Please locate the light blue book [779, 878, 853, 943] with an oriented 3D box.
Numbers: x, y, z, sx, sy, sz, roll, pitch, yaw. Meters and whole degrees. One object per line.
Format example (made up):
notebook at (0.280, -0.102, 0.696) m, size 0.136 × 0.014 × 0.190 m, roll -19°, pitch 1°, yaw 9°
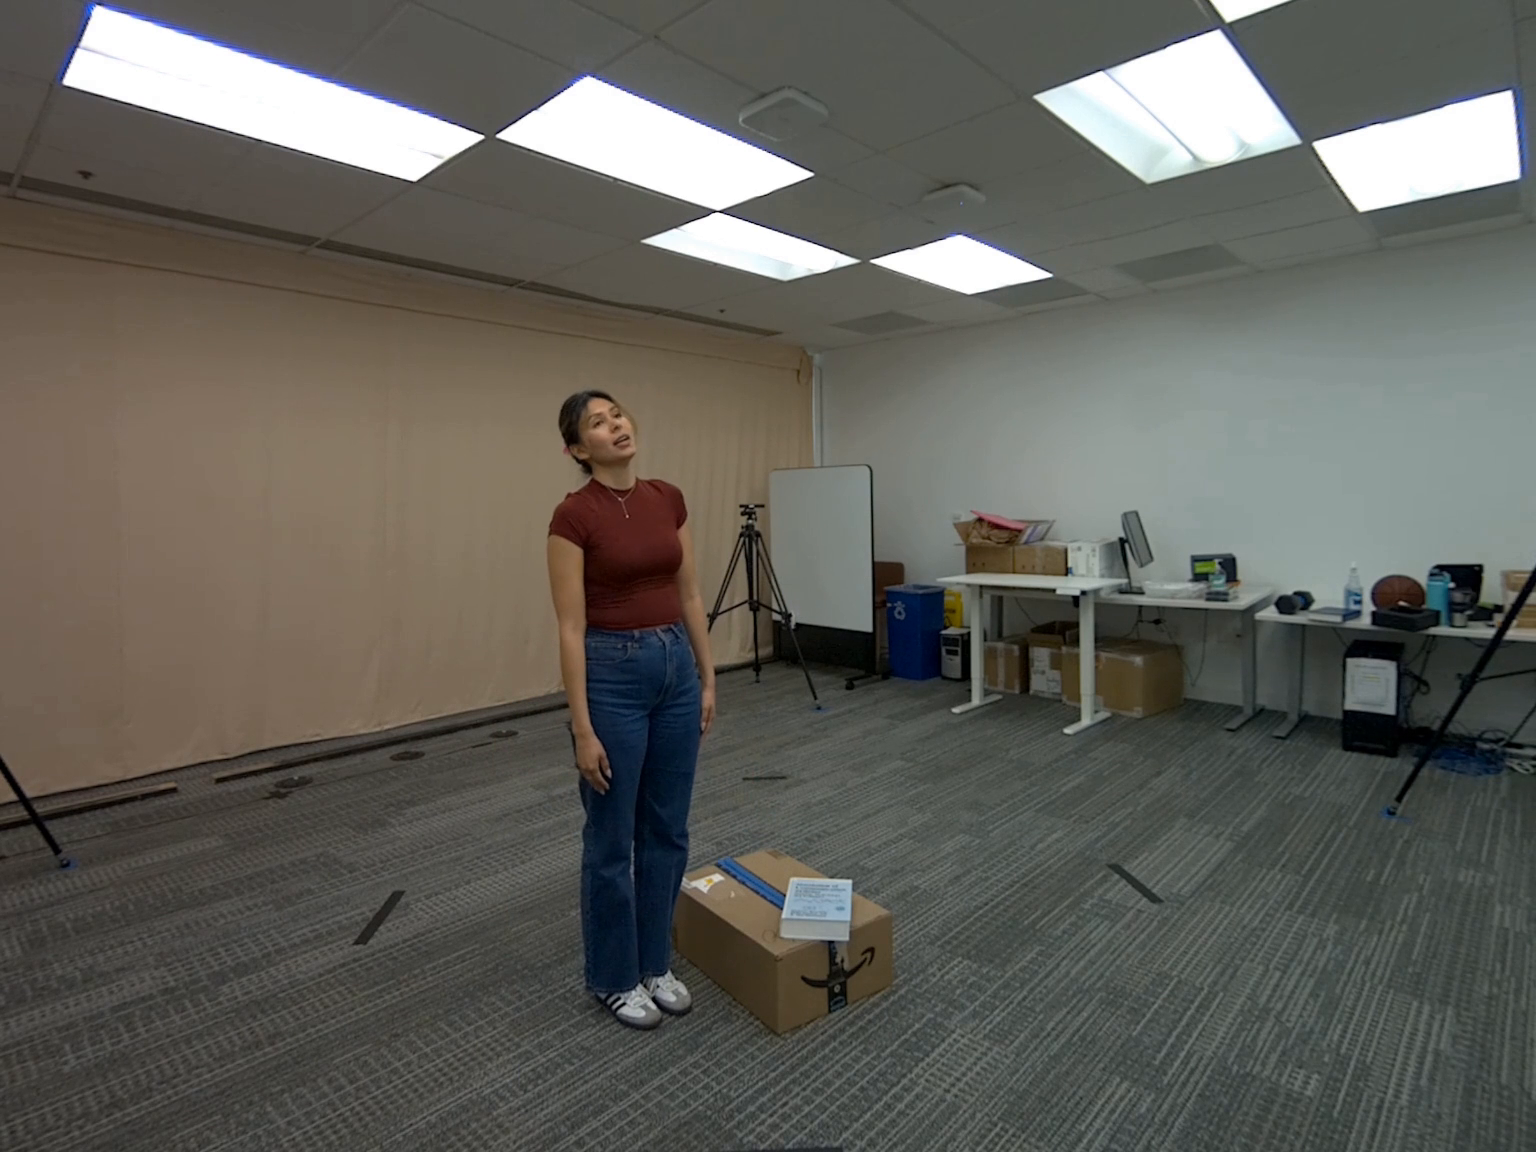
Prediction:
light blue book at (0.150, 0.945, 2.395) m, size 0.193 × 0.059 × 0.259 m, roll -1°, pitch 4°, yaw 8°
